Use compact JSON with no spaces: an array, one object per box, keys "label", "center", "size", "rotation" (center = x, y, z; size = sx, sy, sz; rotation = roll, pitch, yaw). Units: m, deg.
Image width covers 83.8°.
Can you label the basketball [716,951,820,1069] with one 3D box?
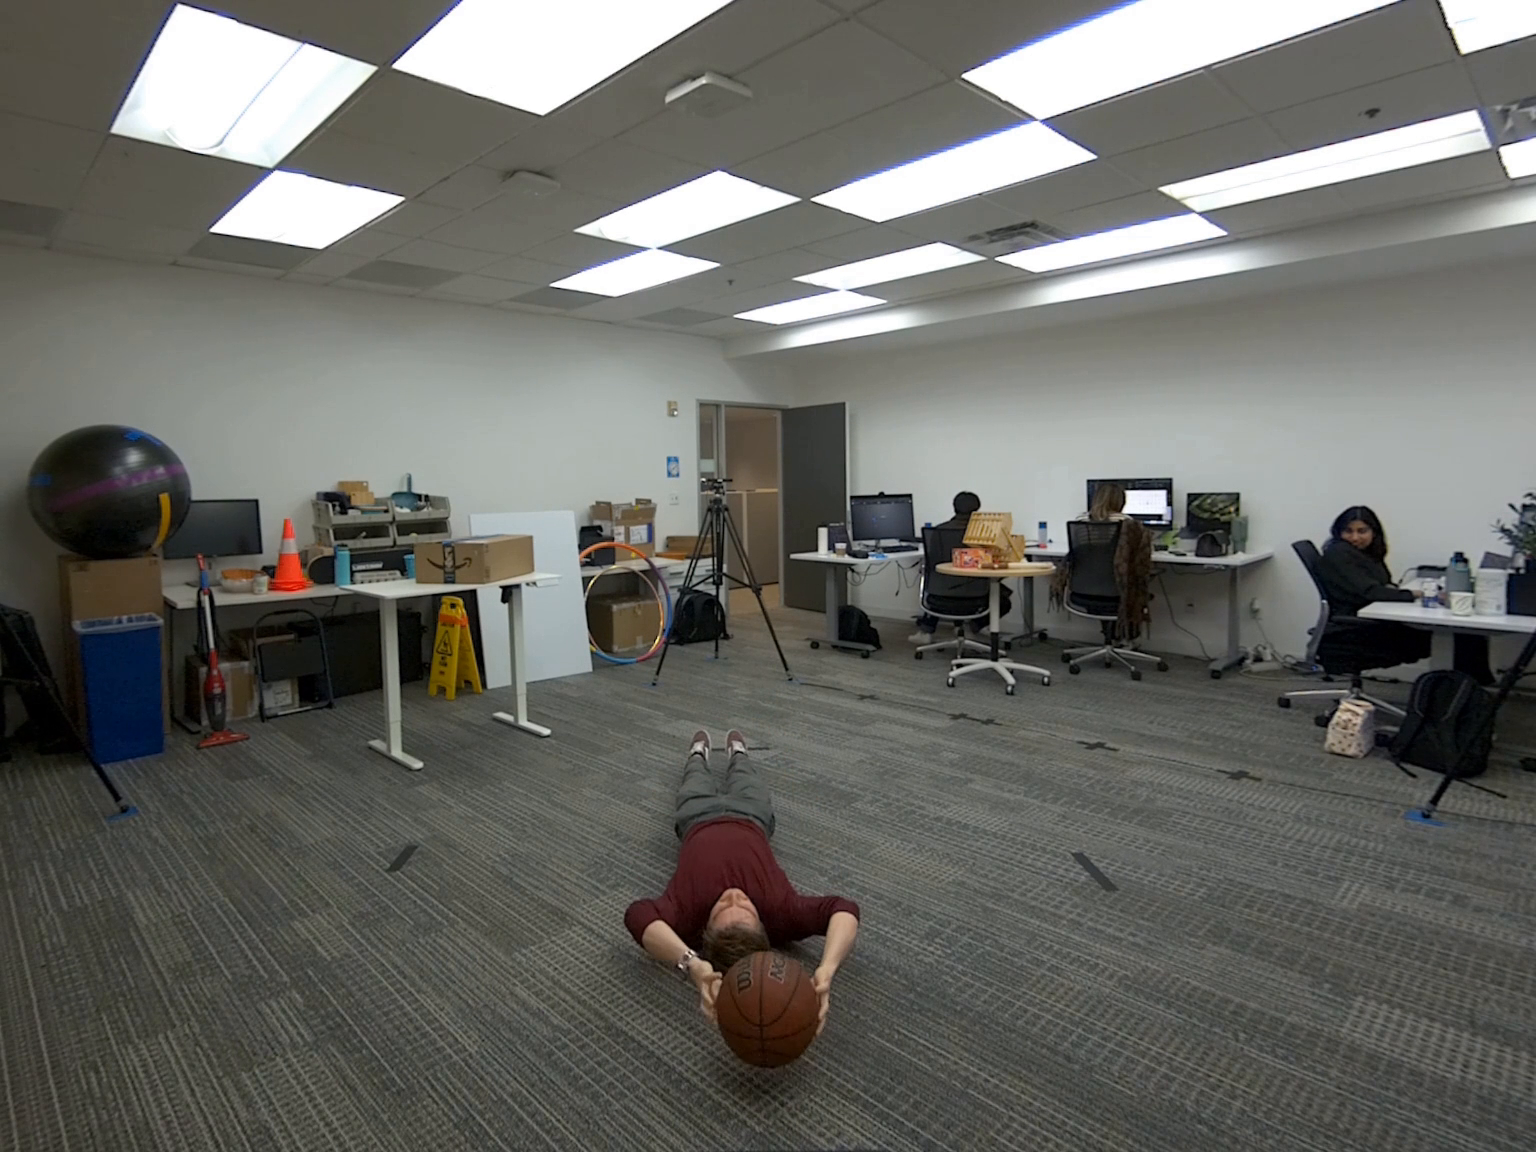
[{"label":"basketball","center":[0.009,1.007,1.996],"size":[0.236,0.235,0.237],"rotation":[-1,5,-2]}]
